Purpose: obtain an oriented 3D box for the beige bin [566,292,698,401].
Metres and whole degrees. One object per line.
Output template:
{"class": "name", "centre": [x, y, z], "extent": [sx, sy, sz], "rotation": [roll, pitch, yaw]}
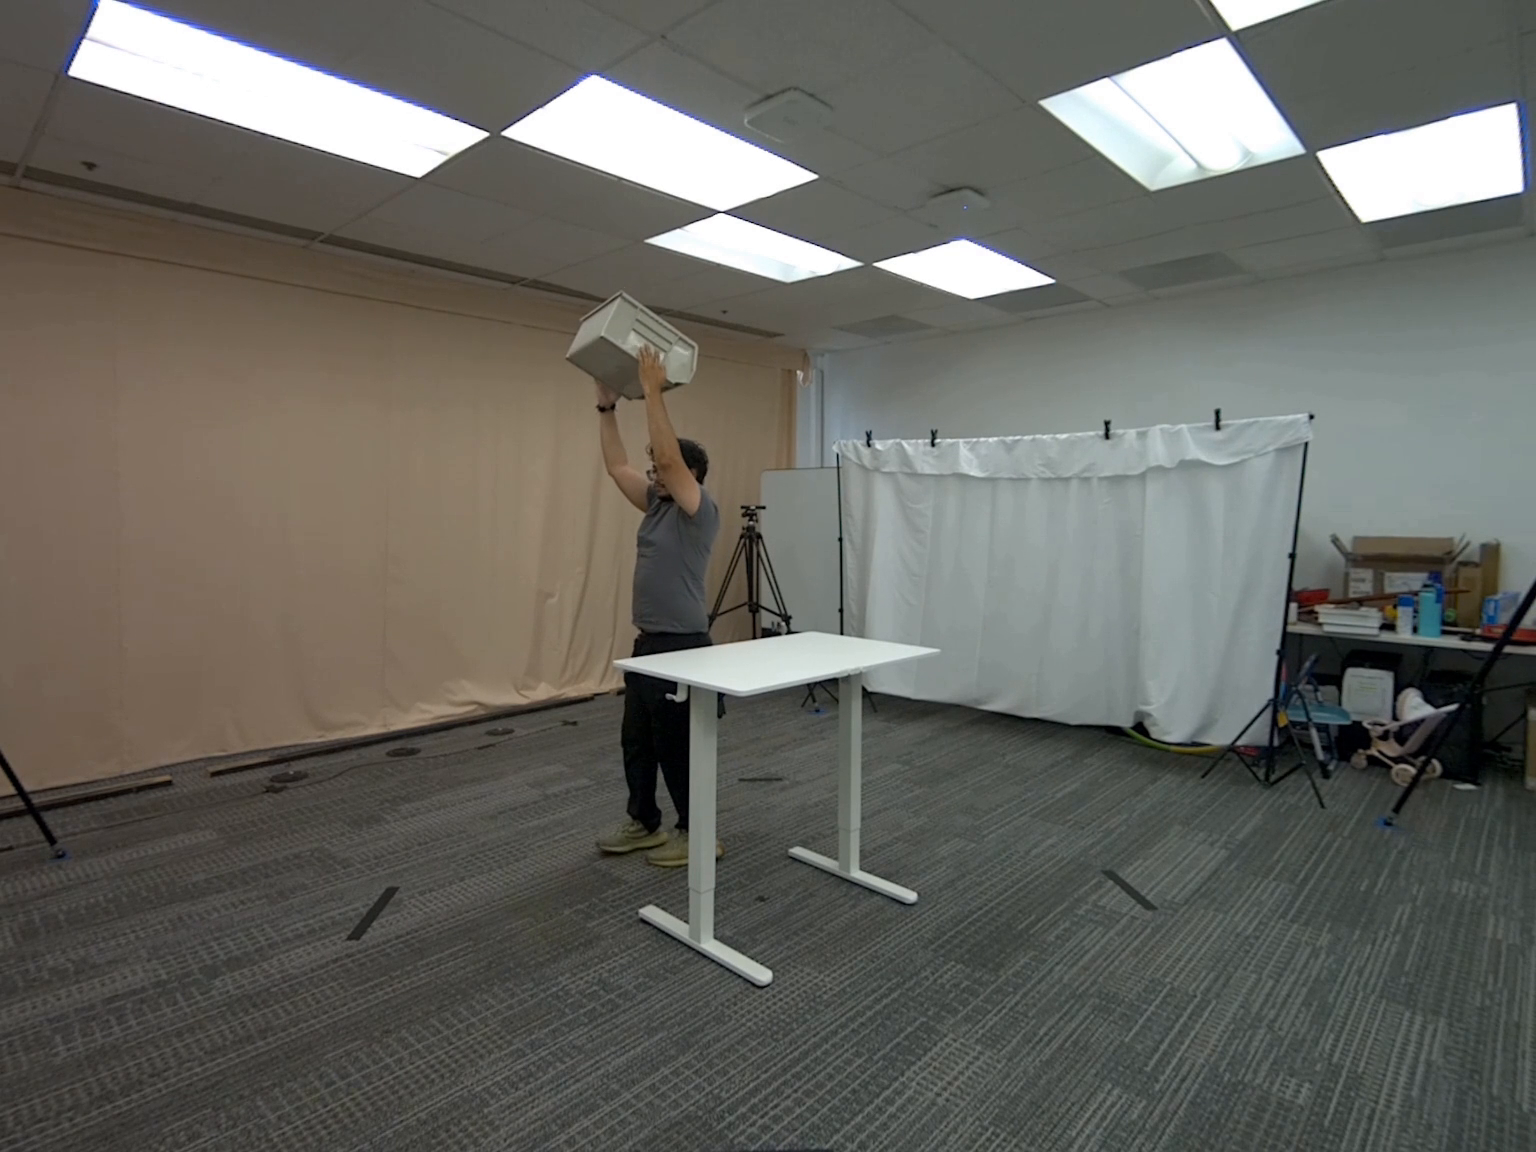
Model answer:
{"class": "beige bin", "centre": [-0.521, -0.843, 3.192], "extent": [0.366, 0.189, 0.434], "rotation": [30, -13, -27]}
